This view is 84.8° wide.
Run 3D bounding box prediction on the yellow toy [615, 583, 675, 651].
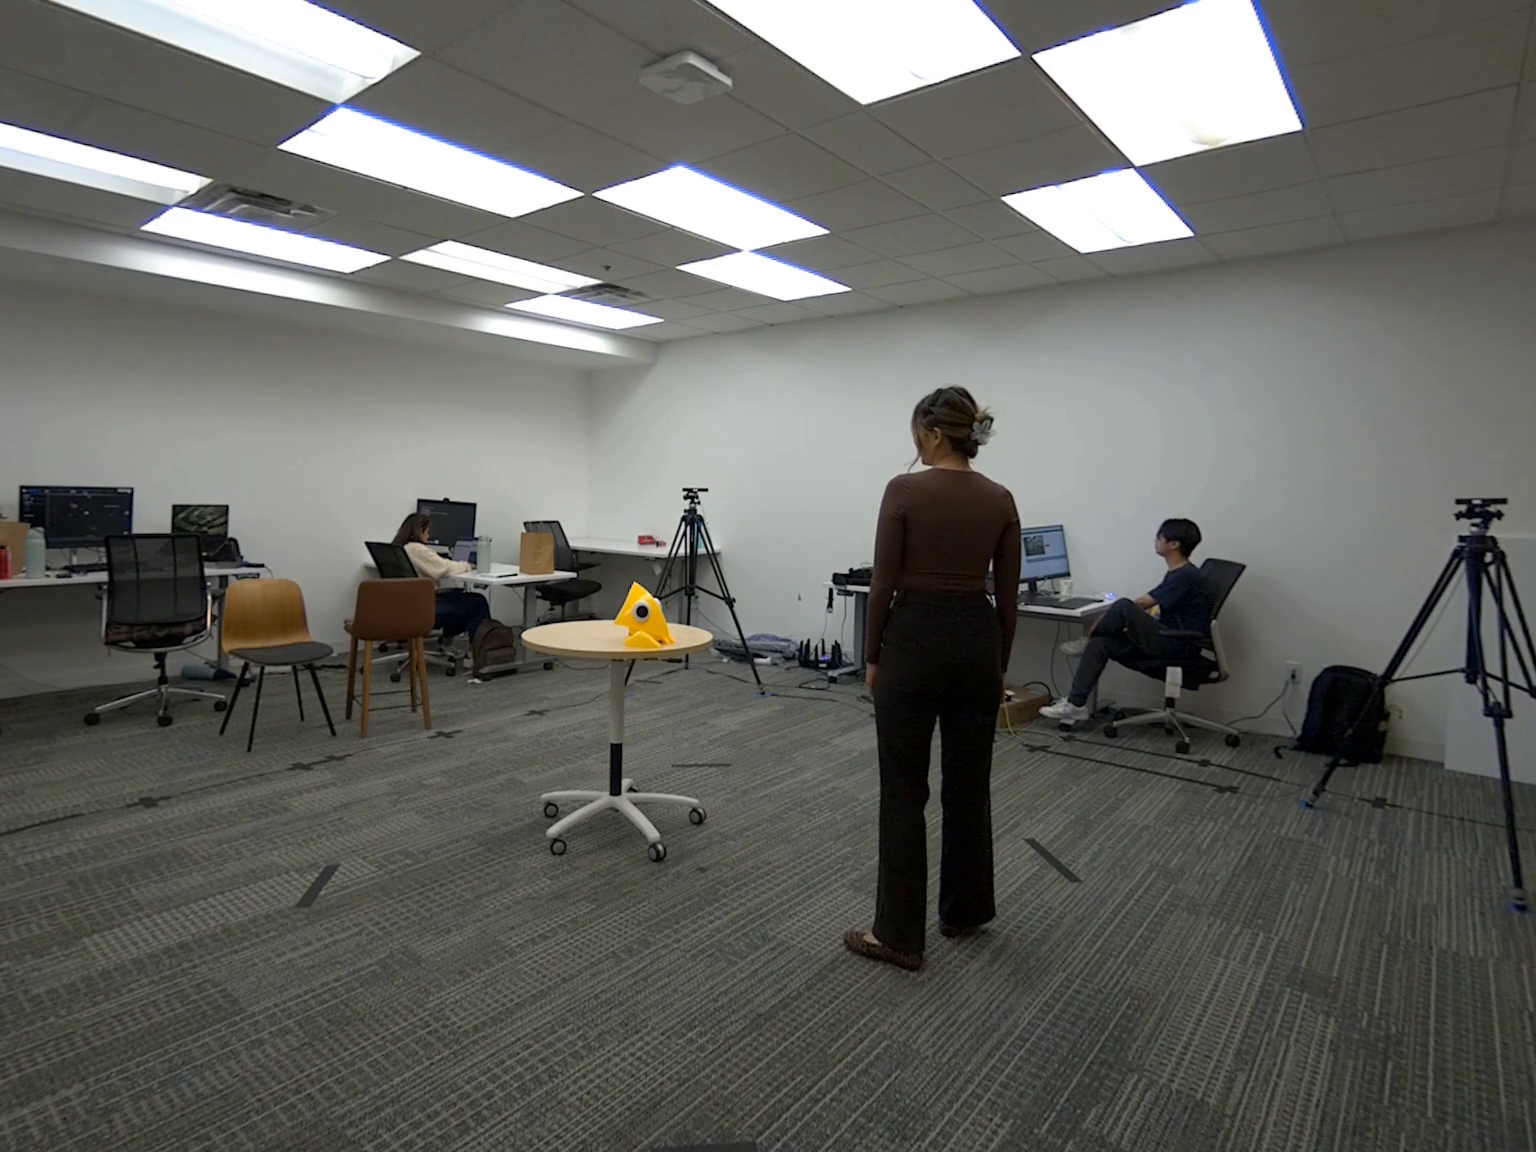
[{"bbox_3d":[-0.471,0.140,3.250,0.197,0.230,0.200,2,4,22],"label":"yellow toy"}]
